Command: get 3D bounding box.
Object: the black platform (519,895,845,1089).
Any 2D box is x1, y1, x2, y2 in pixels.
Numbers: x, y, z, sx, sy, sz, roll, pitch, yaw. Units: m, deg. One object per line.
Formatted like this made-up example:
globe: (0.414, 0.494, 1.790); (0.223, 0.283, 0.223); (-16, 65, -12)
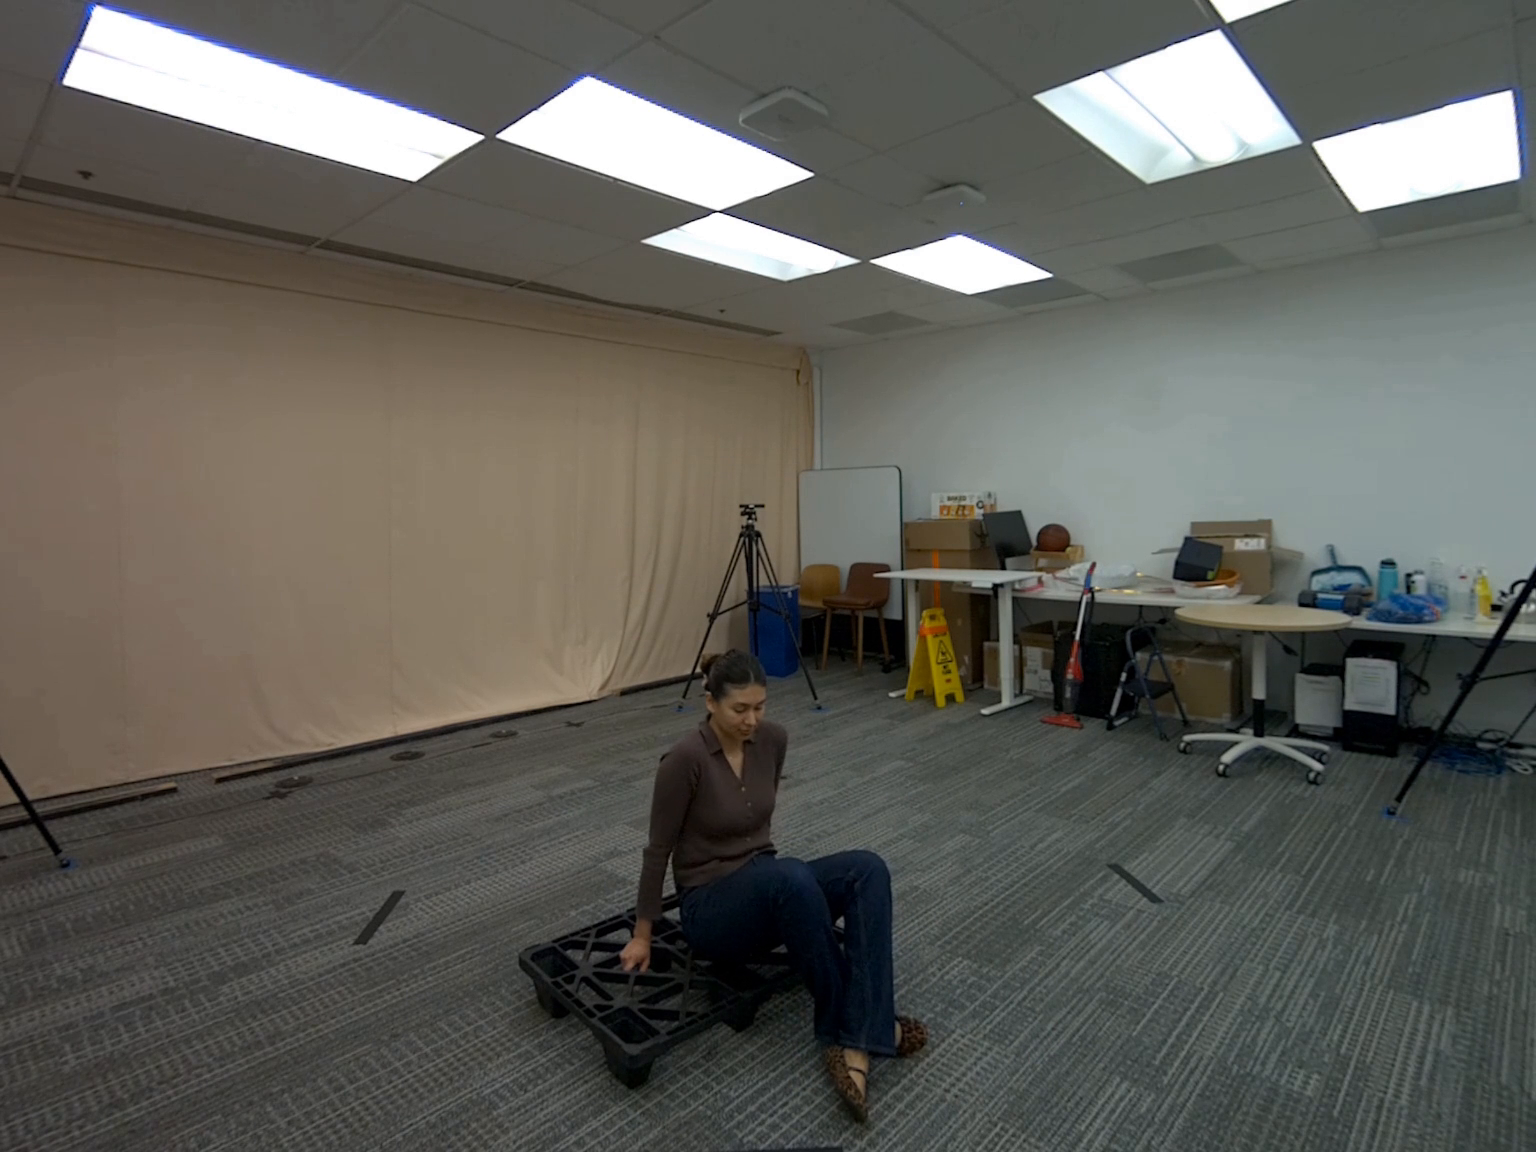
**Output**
black platform: (-0.223, 1.130, 2.417); (0.781, 0.143, 0.625); (-4, 6, -40)
